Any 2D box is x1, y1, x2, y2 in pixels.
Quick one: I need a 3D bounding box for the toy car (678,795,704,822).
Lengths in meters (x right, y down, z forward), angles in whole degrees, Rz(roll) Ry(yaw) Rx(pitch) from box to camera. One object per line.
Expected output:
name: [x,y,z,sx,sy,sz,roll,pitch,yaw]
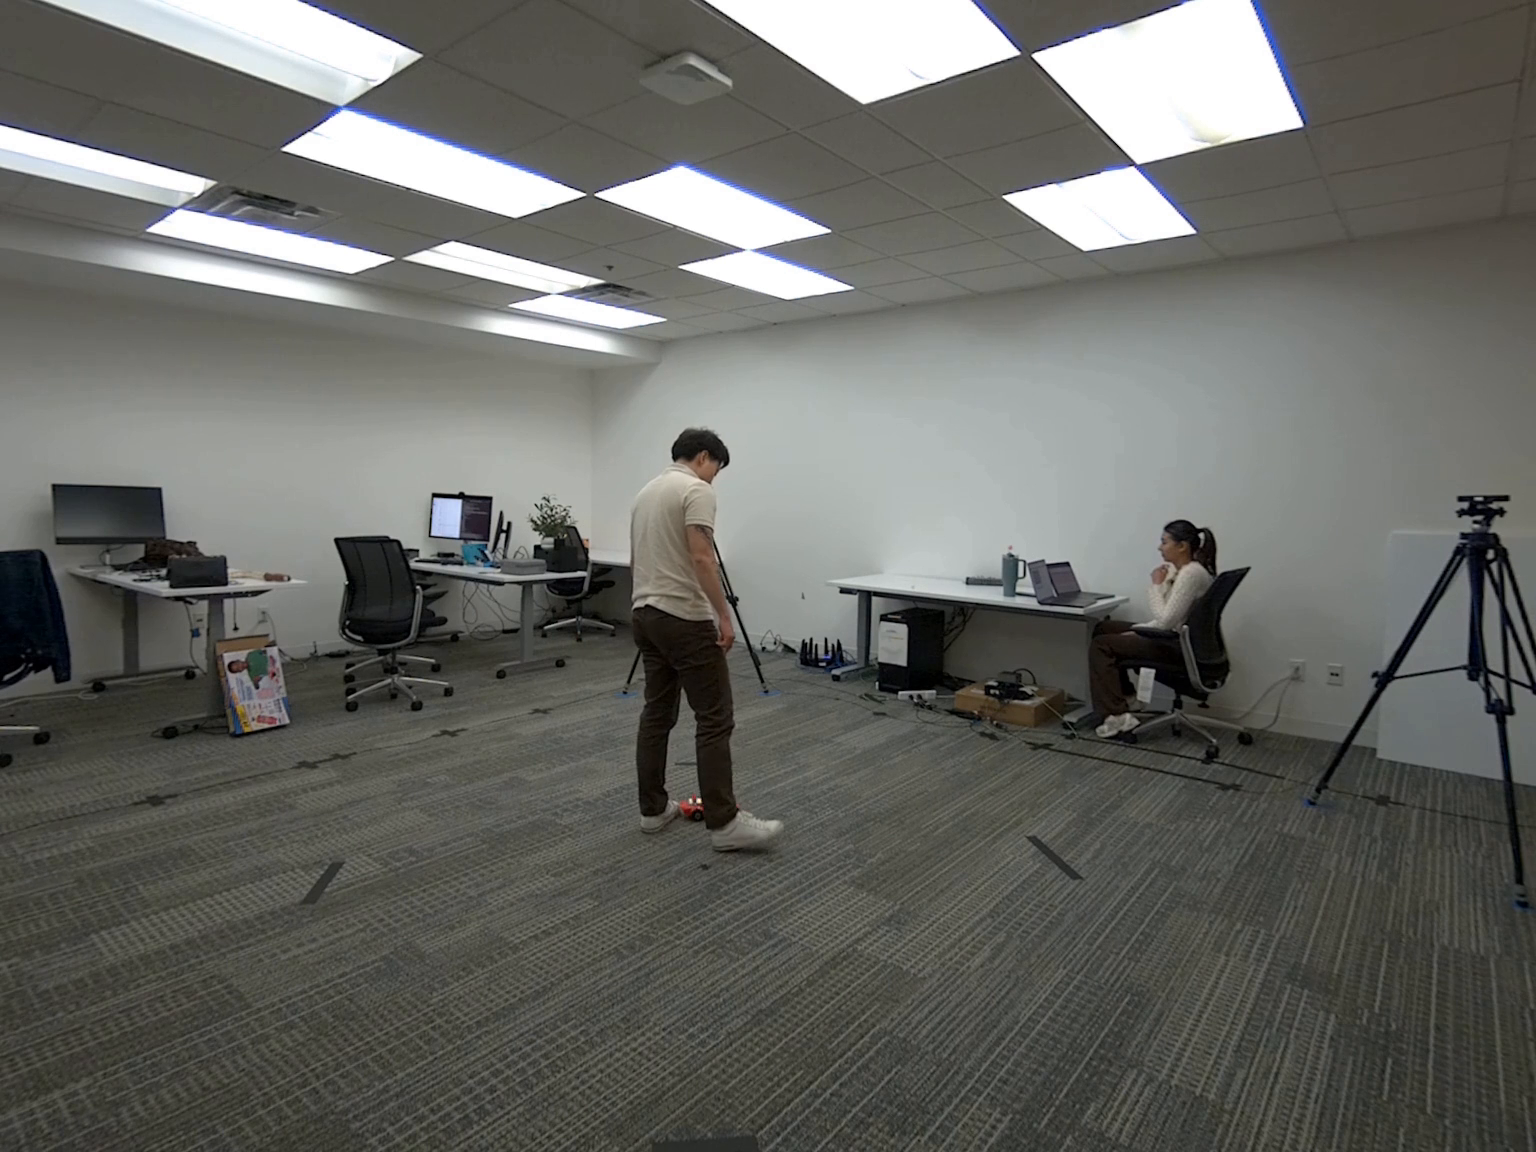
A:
toy car: [-0.267,0.987,3.607,0.253,0.083,0.131,12,2,-5]
